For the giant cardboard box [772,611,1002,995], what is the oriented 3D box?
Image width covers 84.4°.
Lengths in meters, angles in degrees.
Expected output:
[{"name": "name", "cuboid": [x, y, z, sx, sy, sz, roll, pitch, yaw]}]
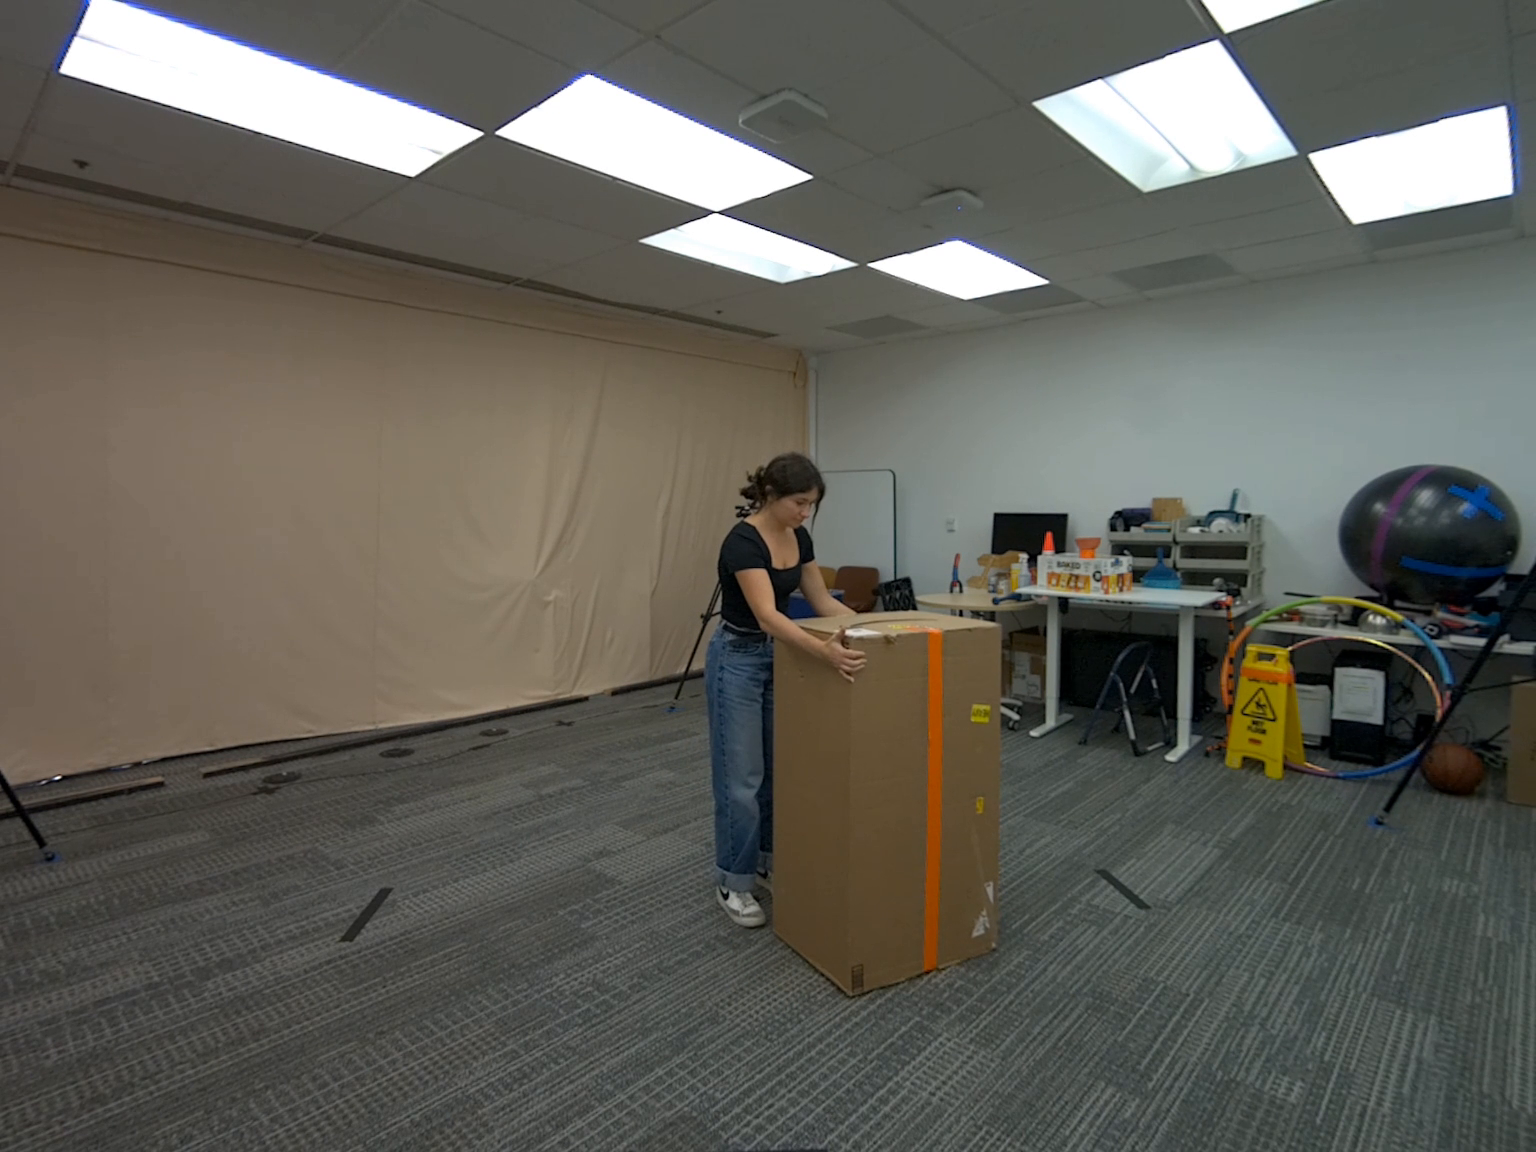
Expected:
[{"name": "giant cardboard box", "cuboid": [0.377, 0.665, 2.666, 0.562, 1.024, 0.438, -2, 3, -30]}]
